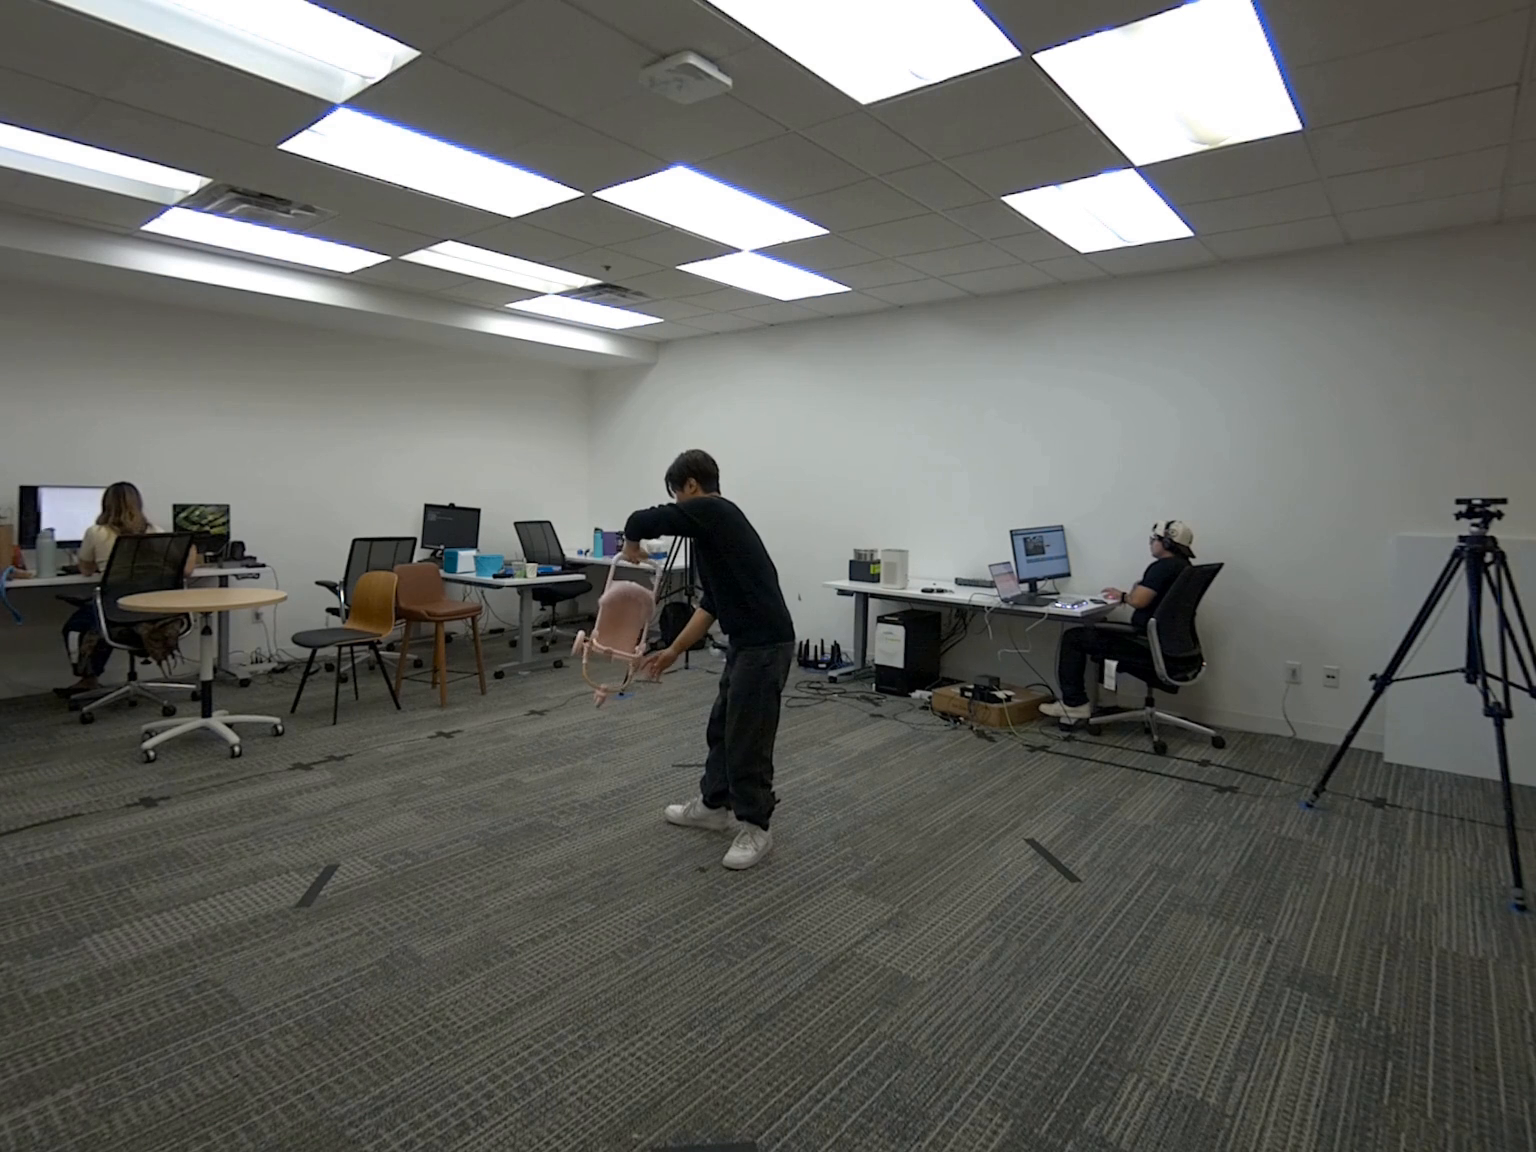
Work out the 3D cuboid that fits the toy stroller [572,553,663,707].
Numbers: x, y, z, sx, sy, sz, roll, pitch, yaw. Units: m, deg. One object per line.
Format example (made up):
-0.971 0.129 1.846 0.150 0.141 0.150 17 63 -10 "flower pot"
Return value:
-0.602 0.227 3.333 0.278 0.530 0.348 19 19 -10 "toy stroller"
